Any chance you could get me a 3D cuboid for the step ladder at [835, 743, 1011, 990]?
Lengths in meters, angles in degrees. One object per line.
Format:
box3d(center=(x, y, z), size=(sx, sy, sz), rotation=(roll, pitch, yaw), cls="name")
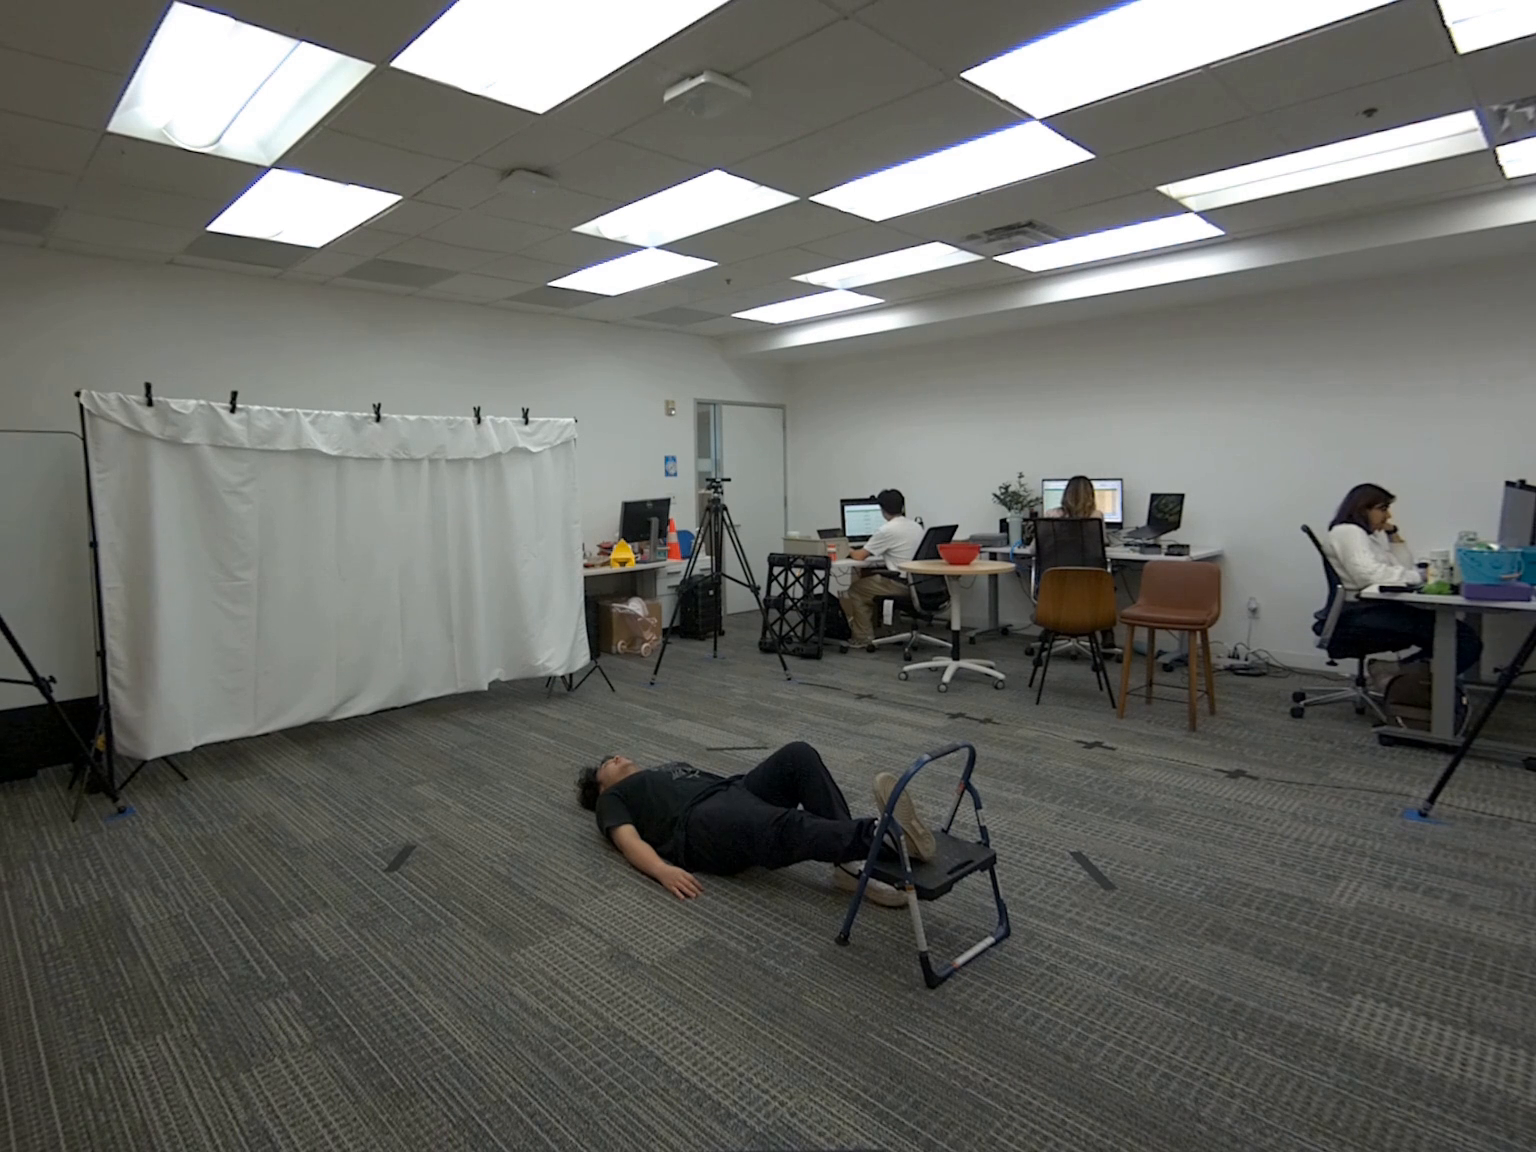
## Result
box3d(center=(0.475, 0.799, 2.556), size=(0.419, 0.603, 0.360), rotation=(-6, 7, -44), cls="step ladder")
